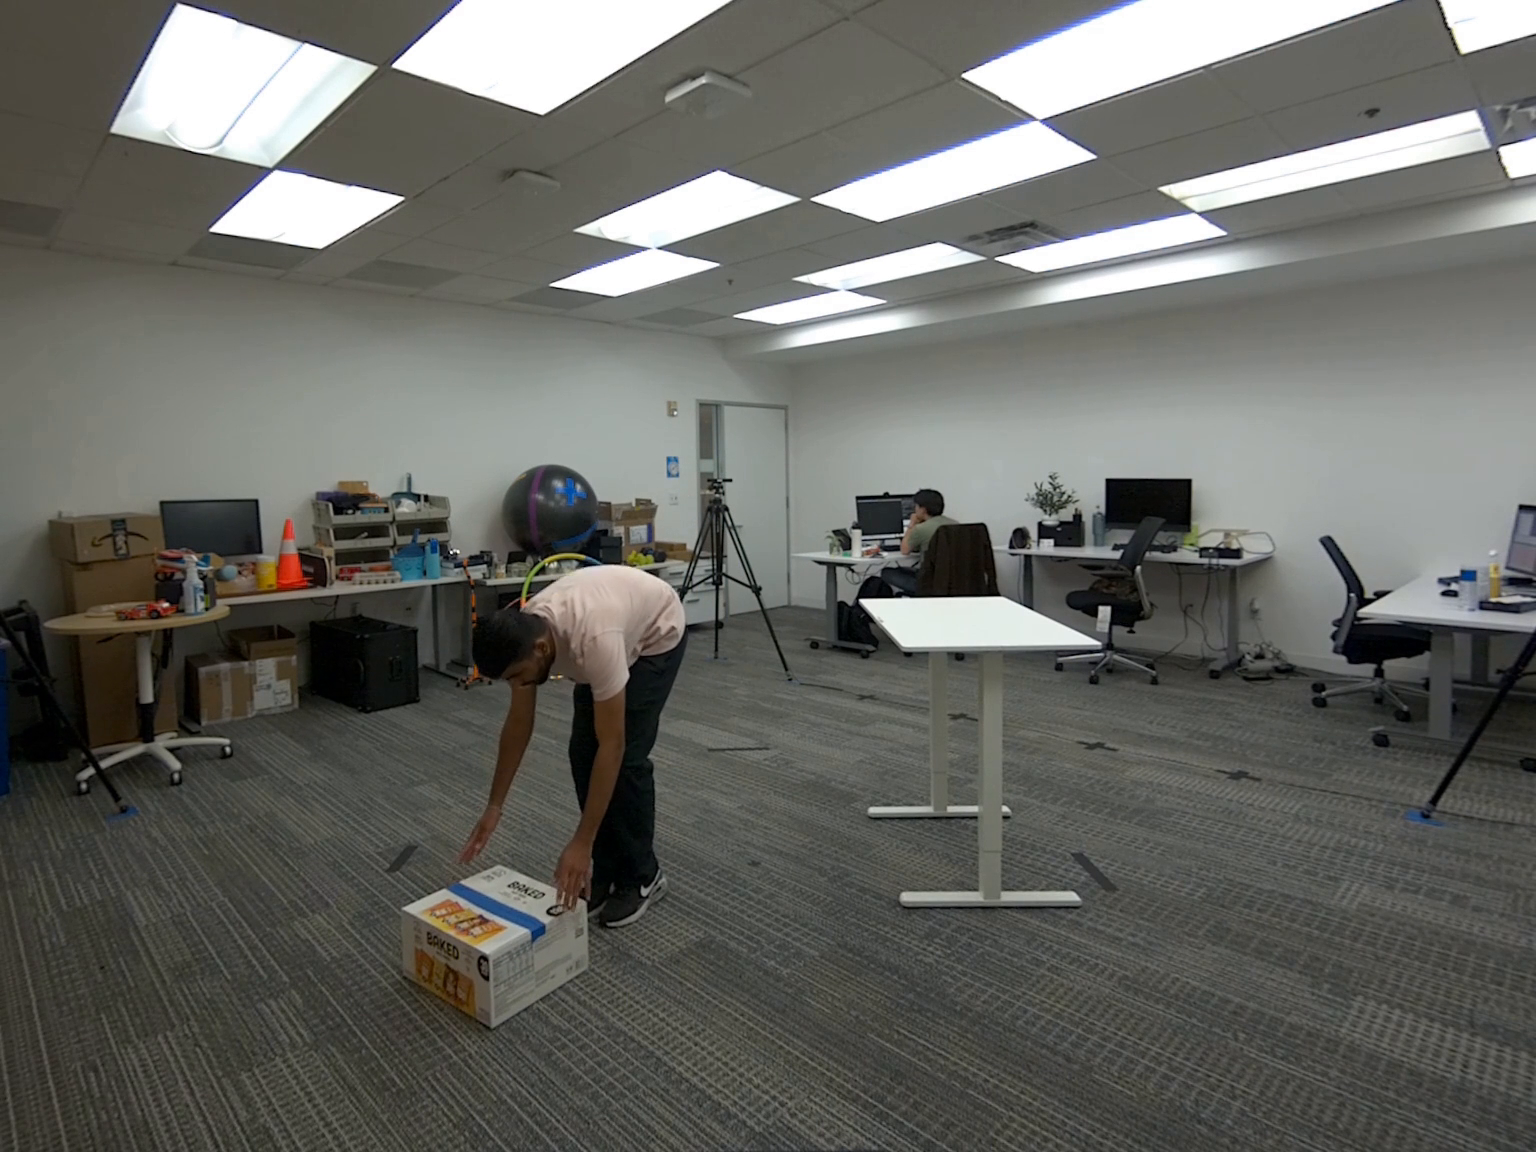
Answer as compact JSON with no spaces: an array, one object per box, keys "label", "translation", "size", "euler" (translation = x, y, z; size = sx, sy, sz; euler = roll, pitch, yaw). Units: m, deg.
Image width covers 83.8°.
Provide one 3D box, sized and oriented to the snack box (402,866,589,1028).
[{"label":"snack box","translation":[-0.773,1.038,2.433],"size":[0.417,0.205,0.332],"euler":[4,8,37]}]
